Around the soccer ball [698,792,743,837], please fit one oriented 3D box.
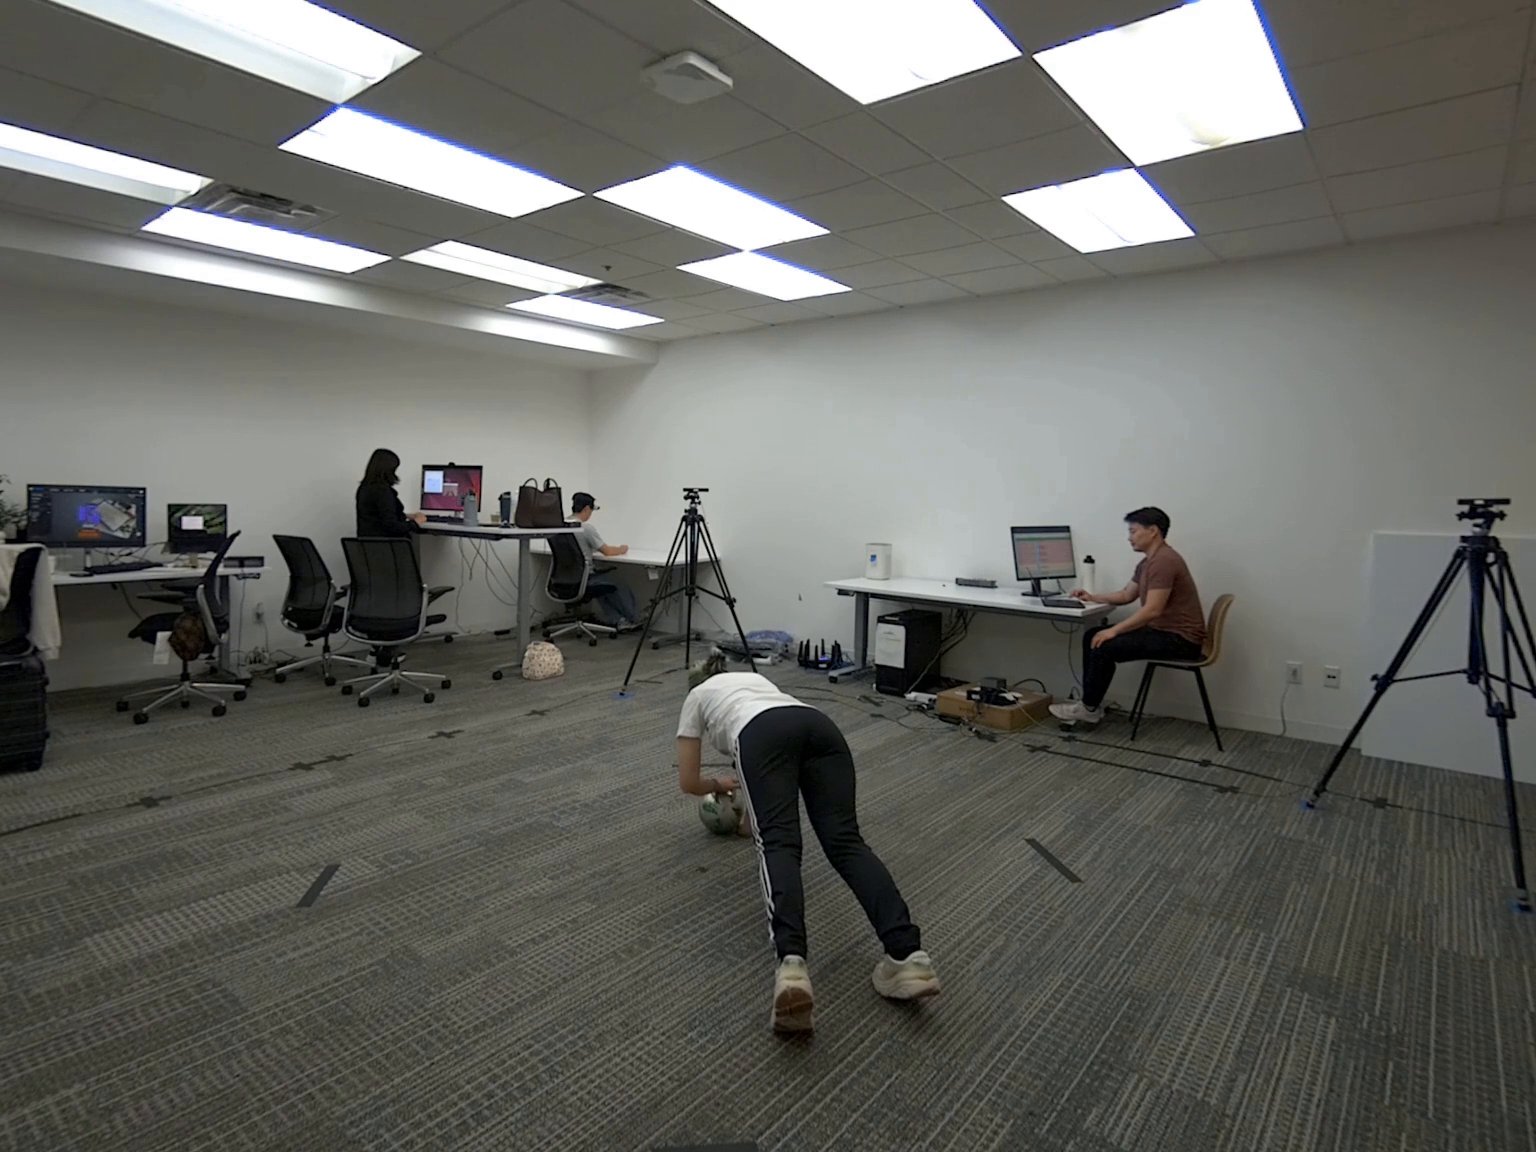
[{"bbox_3d":[-0.209,0.942,3.451,0.187,0.187,0.188,1,4,-2],"label":"soccer ball"}]
